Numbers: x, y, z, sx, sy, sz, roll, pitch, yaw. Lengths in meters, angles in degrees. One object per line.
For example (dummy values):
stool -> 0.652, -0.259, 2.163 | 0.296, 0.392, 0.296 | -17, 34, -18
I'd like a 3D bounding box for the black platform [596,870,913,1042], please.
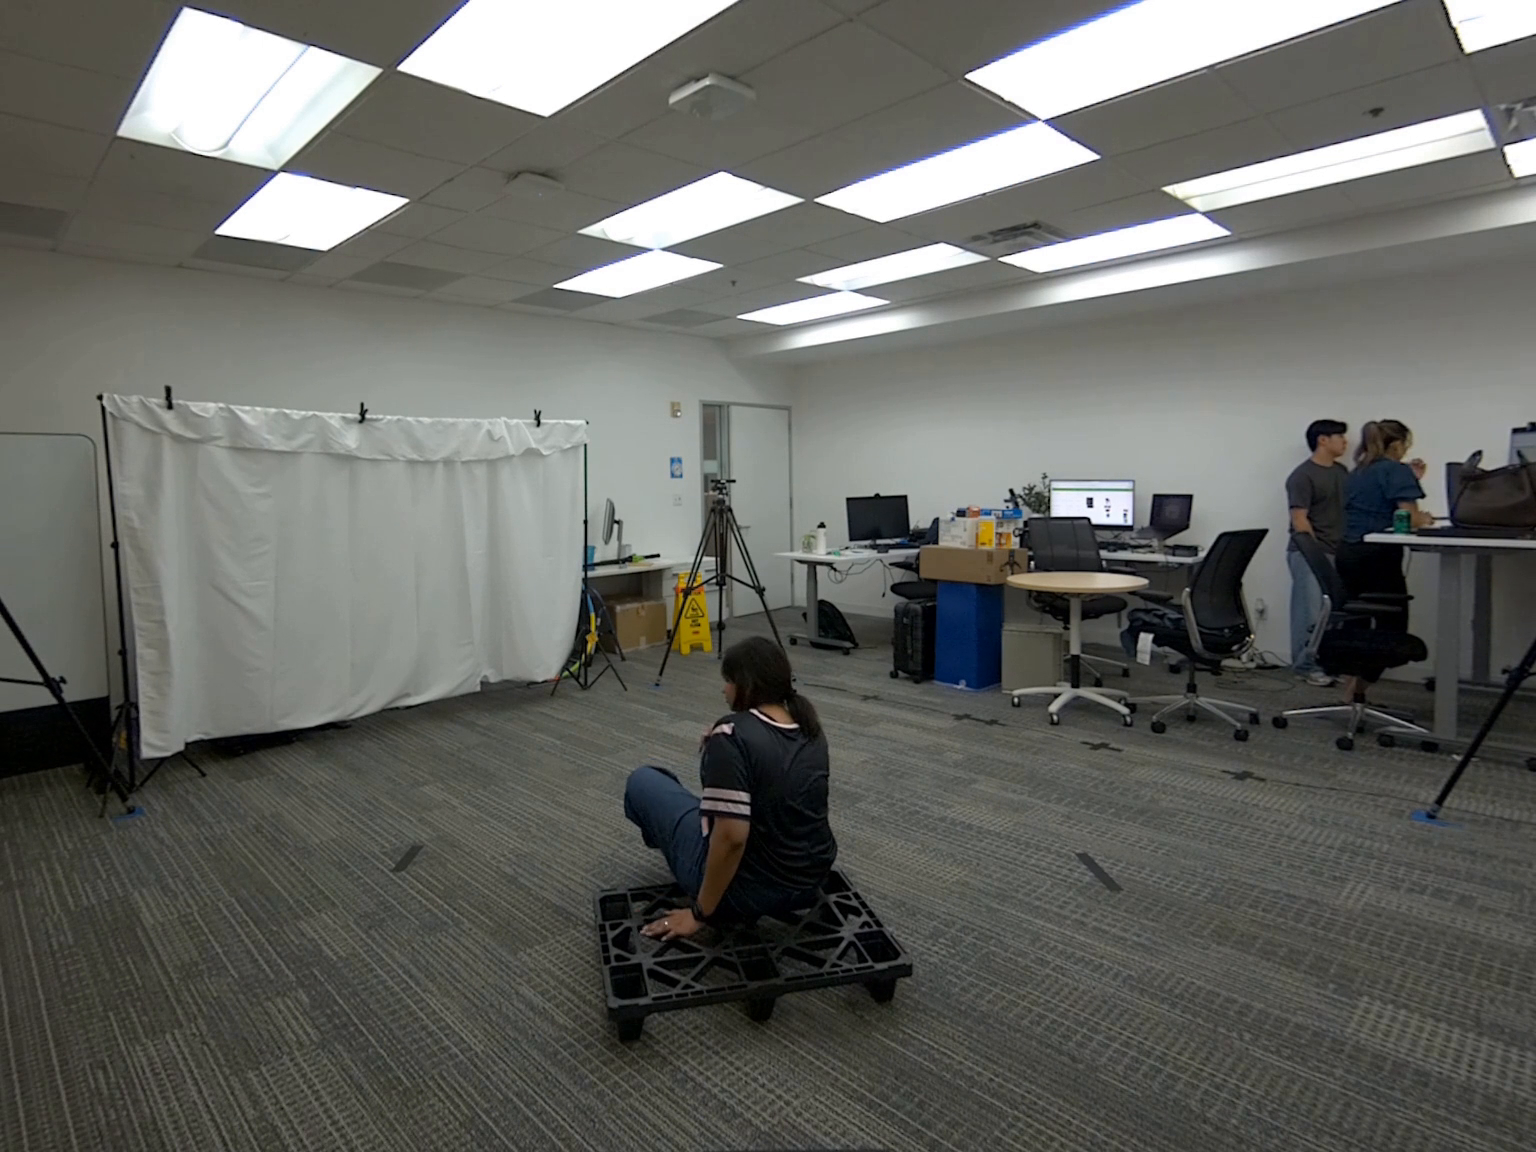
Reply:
black platform -> -0.080, 1.061, 2.433 | 0.796, 0.143, 0.615 | -2, 6, -12
